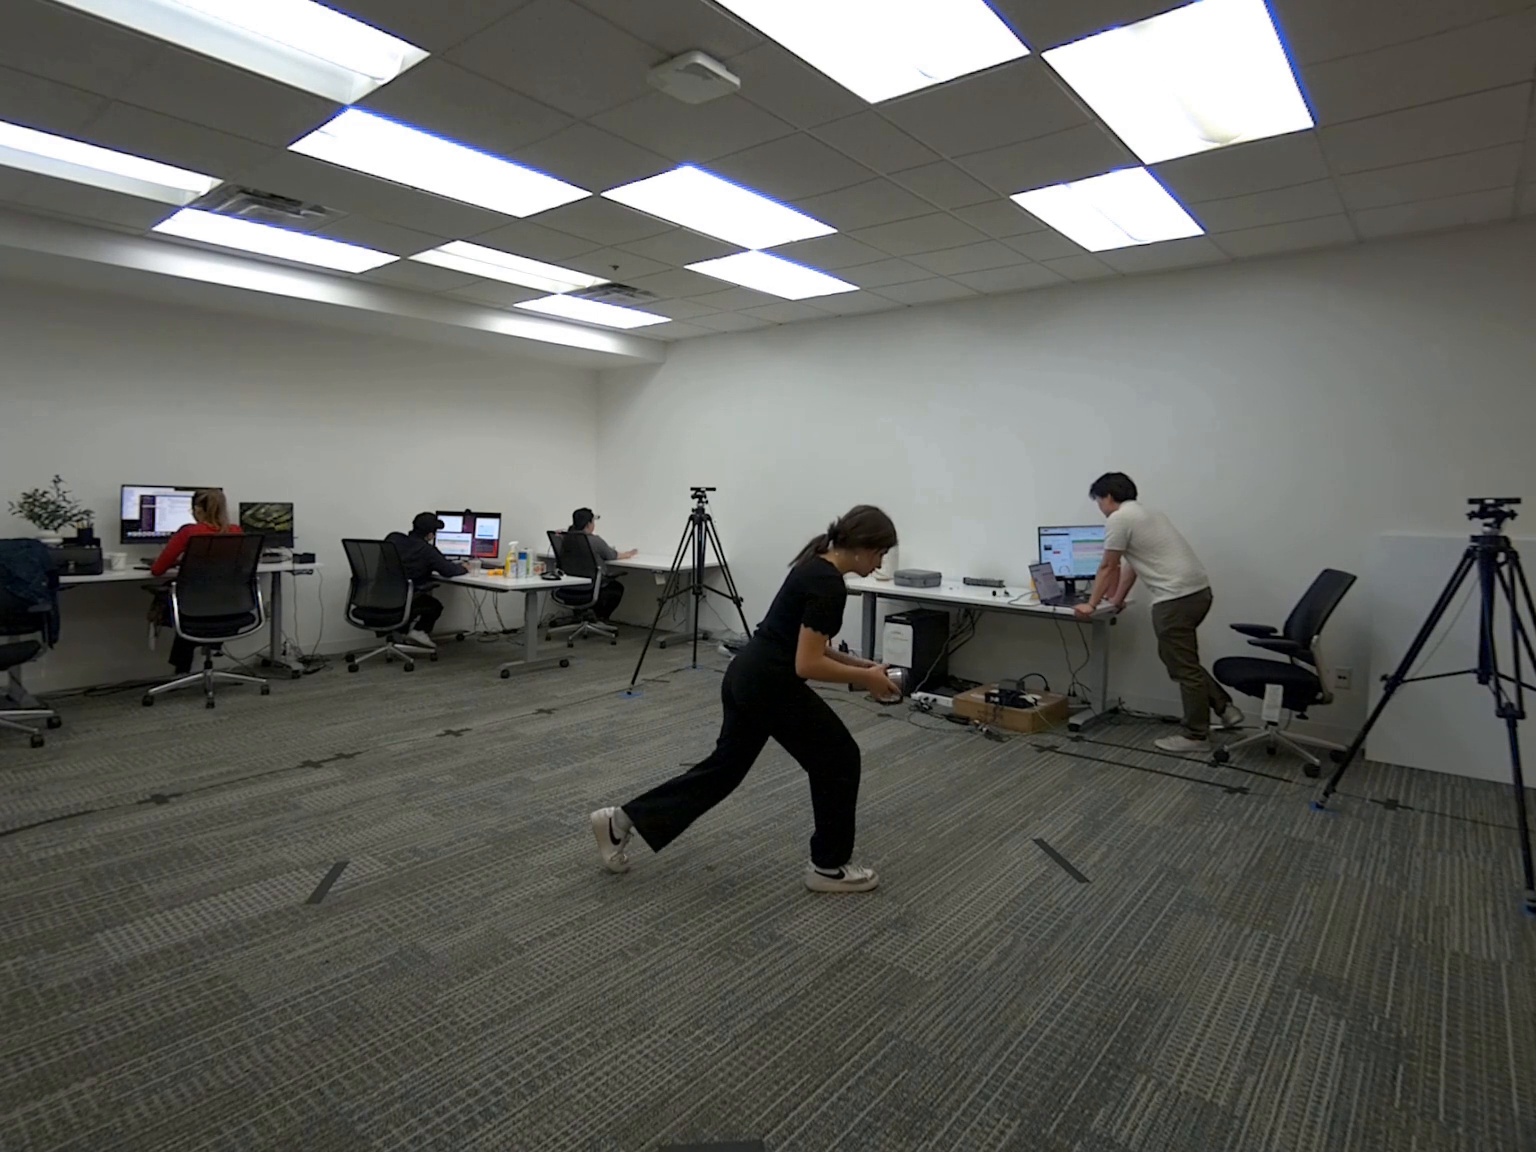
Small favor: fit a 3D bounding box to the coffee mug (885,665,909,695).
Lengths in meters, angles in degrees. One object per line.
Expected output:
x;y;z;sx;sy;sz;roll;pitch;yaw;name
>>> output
0.373;0.382;2.921;0.203;0.123;0.087;-4;-9;0;coffee mug
